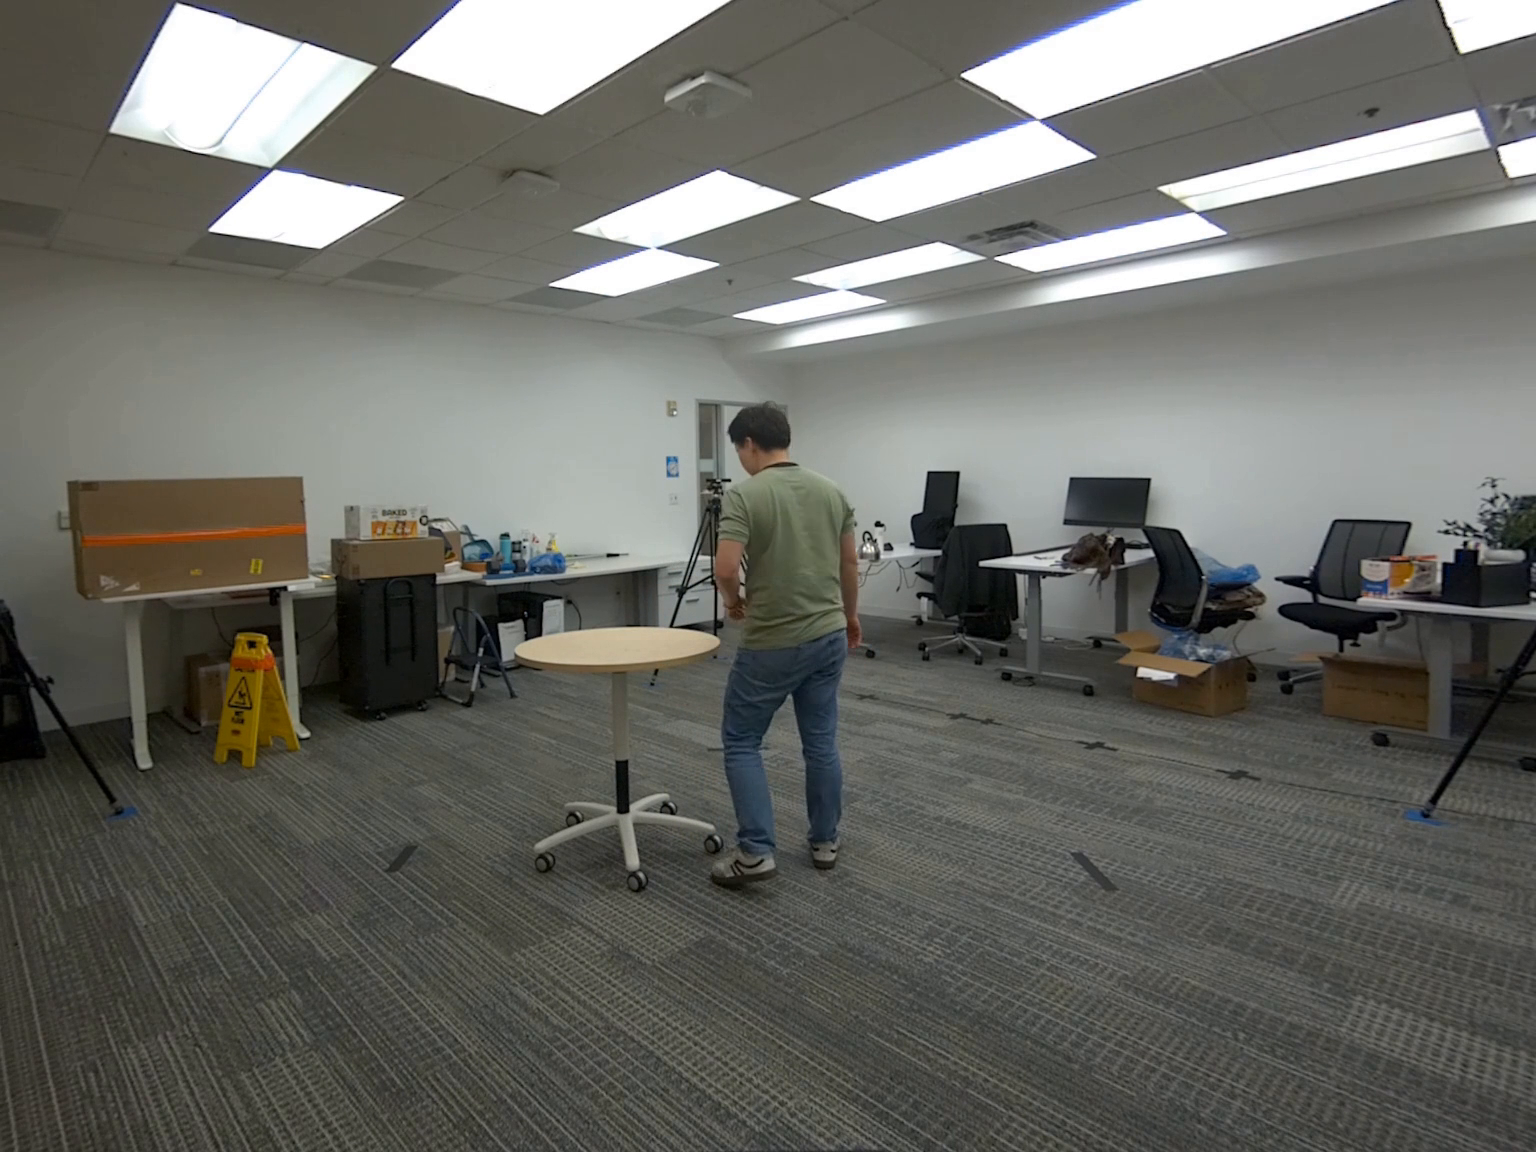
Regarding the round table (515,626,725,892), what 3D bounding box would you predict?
[{"bbox_3d":[-0.553,0.648,3.239,0.763,0.791,0.767,-1,4,-2],"label":"round table"}]
